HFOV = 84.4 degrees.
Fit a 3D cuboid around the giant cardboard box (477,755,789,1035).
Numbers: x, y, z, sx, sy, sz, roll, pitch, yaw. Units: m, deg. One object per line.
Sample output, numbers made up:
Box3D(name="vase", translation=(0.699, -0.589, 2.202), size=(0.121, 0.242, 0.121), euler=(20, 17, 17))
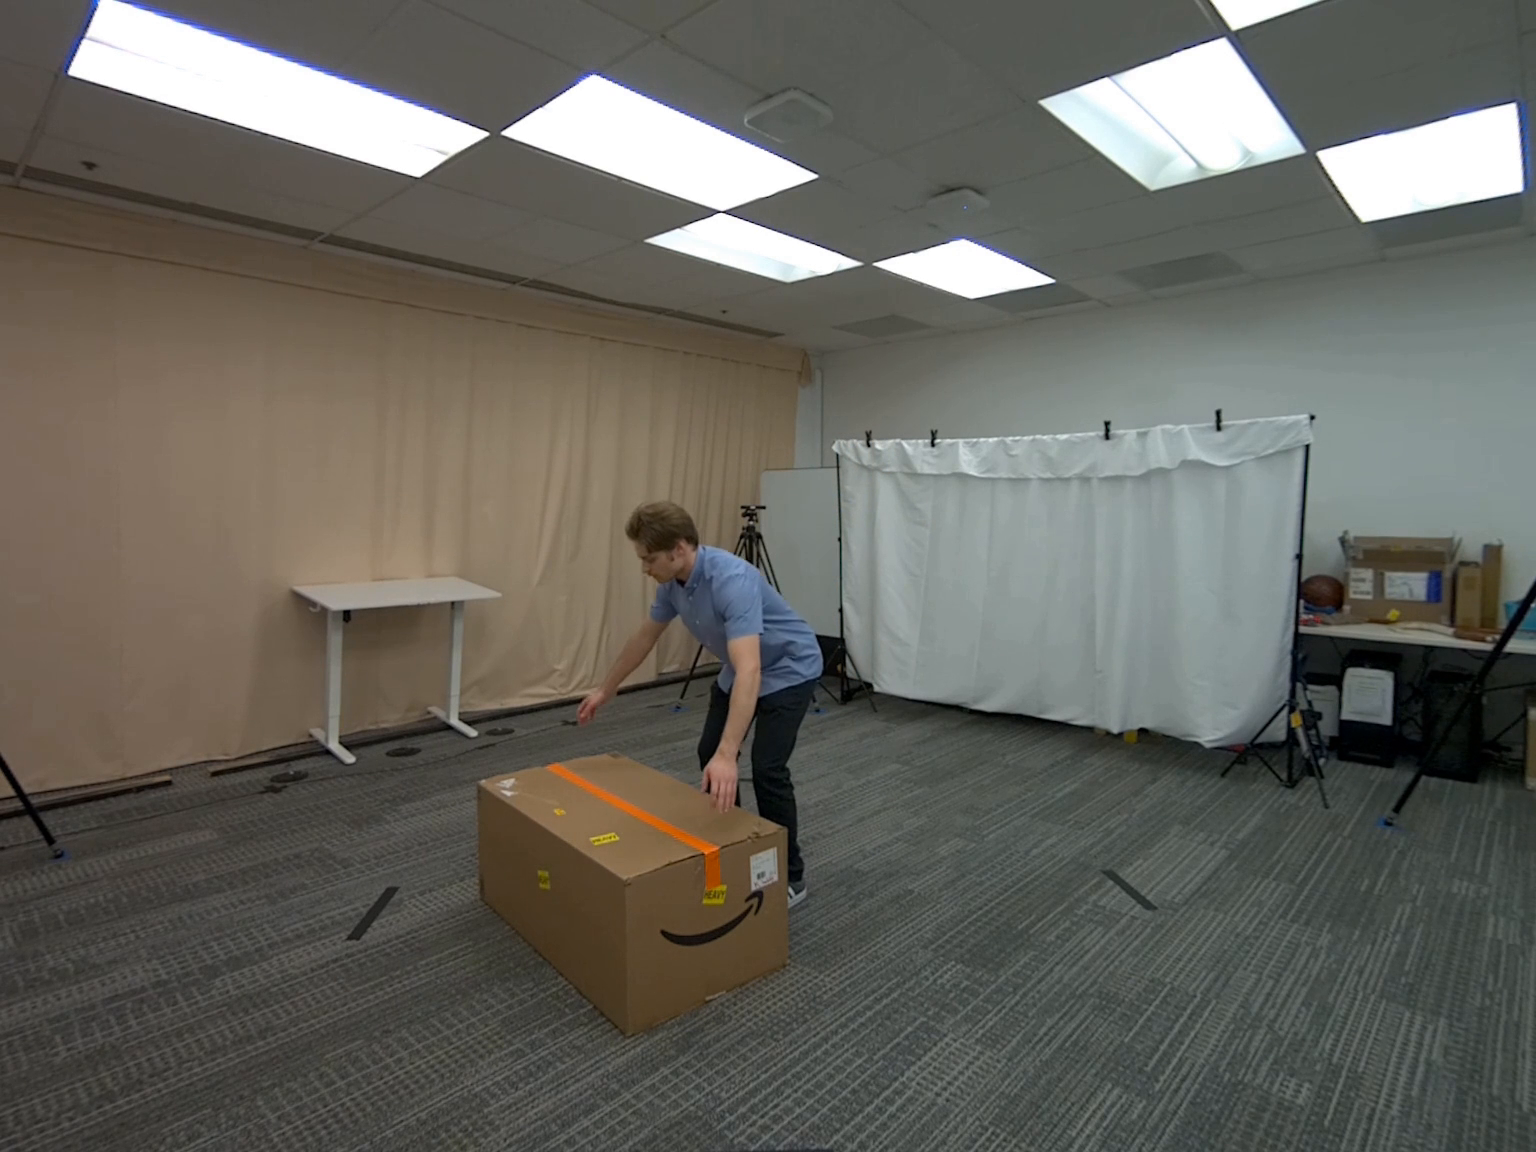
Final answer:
Box3D(name="giant cardboard box", translation=(-0.485, 0.952, 2.767), size=(0.566, 0.446, 1.060), euler=(-2, 4, -39))
